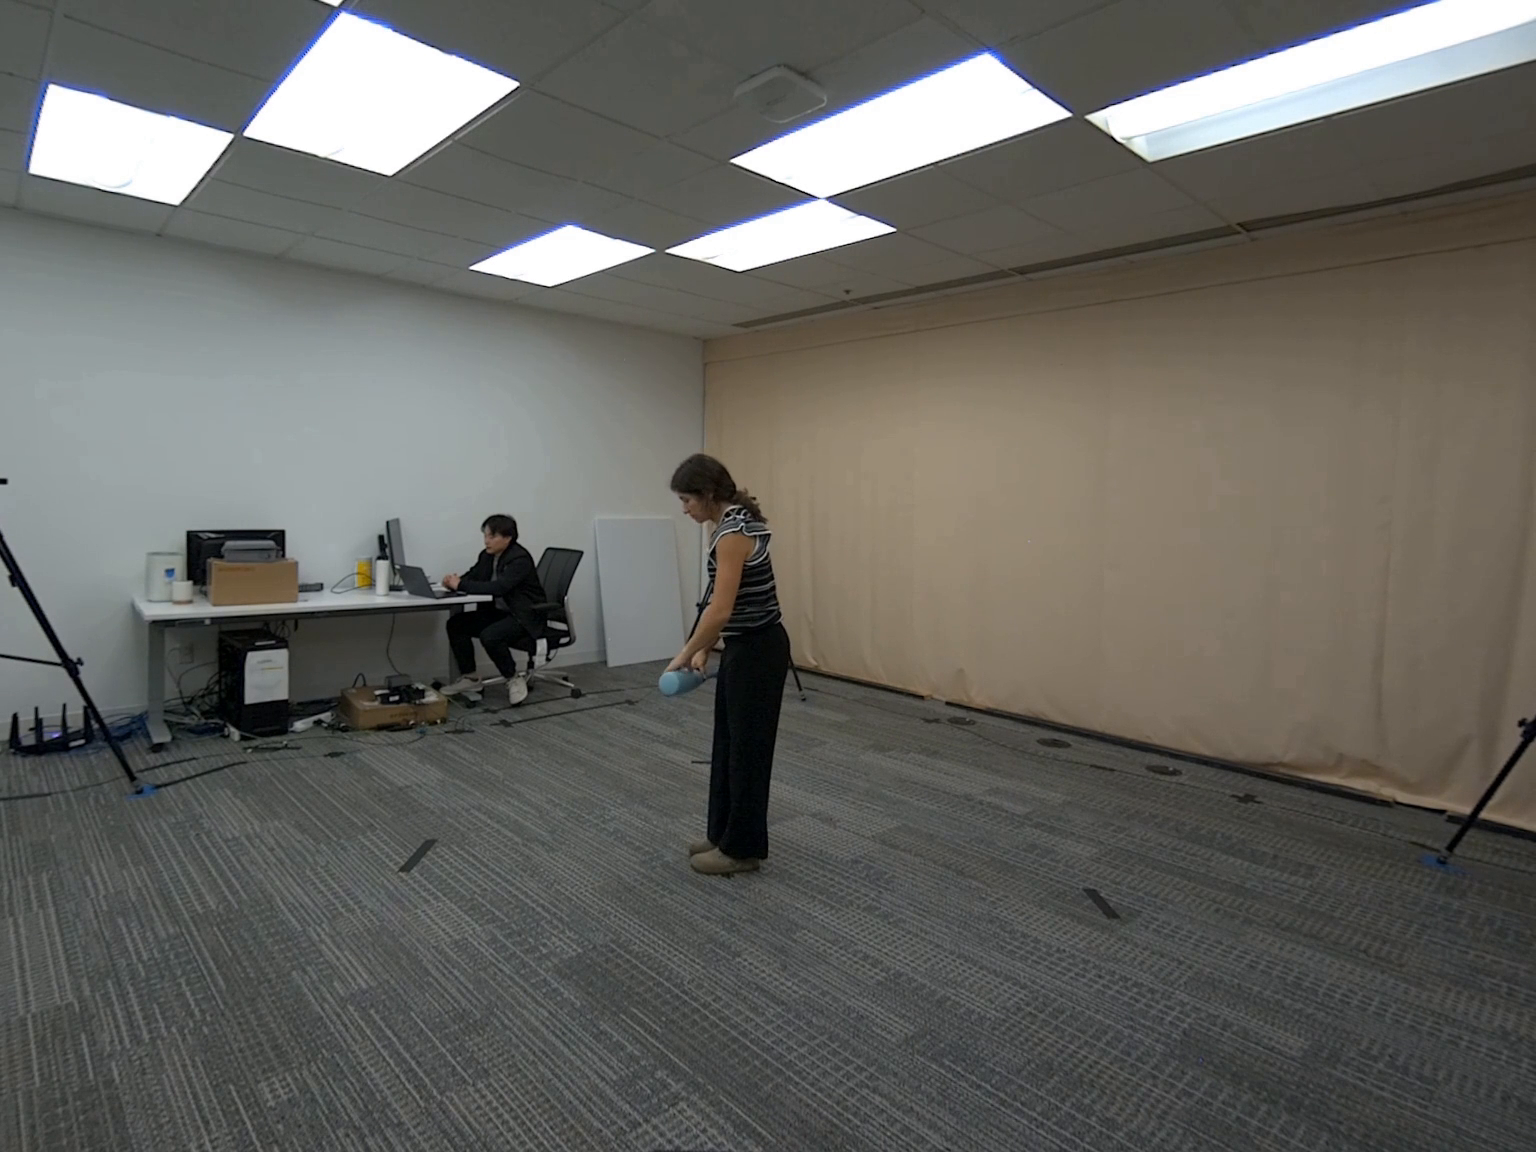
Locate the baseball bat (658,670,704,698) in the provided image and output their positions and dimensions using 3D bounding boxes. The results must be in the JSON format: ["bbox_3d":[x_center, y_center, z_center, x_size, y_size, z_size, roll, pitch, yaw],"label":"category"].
[{"bbox_3d":[-0.275,0.401,3.237,0.090,0.089,0.535,3,-1,15],"label":"baseball bat"}]
